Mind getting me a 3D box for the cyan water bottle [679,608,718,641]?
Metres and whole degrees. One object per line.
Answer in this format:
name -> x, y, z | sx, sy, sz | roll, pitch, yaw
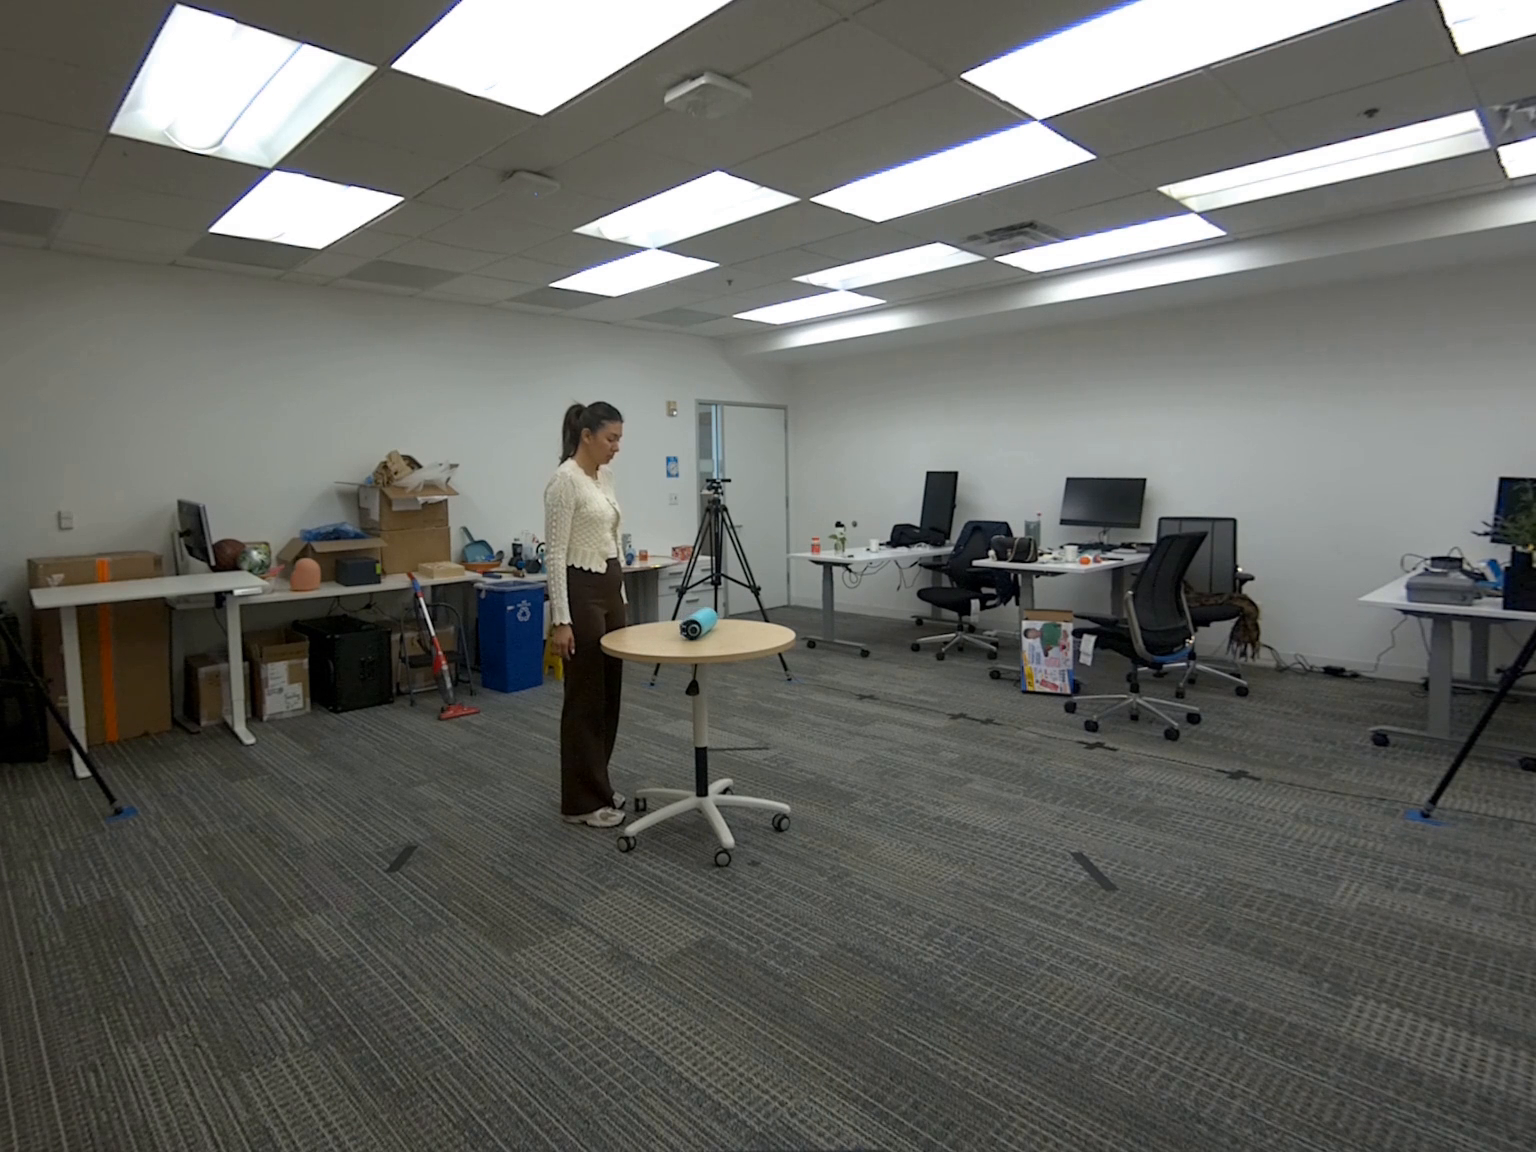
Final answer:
cyan water bottle -> -0.276, 0.188, 3.383 | 0.093, 0.092, 0.282 | 0, 7, 9
